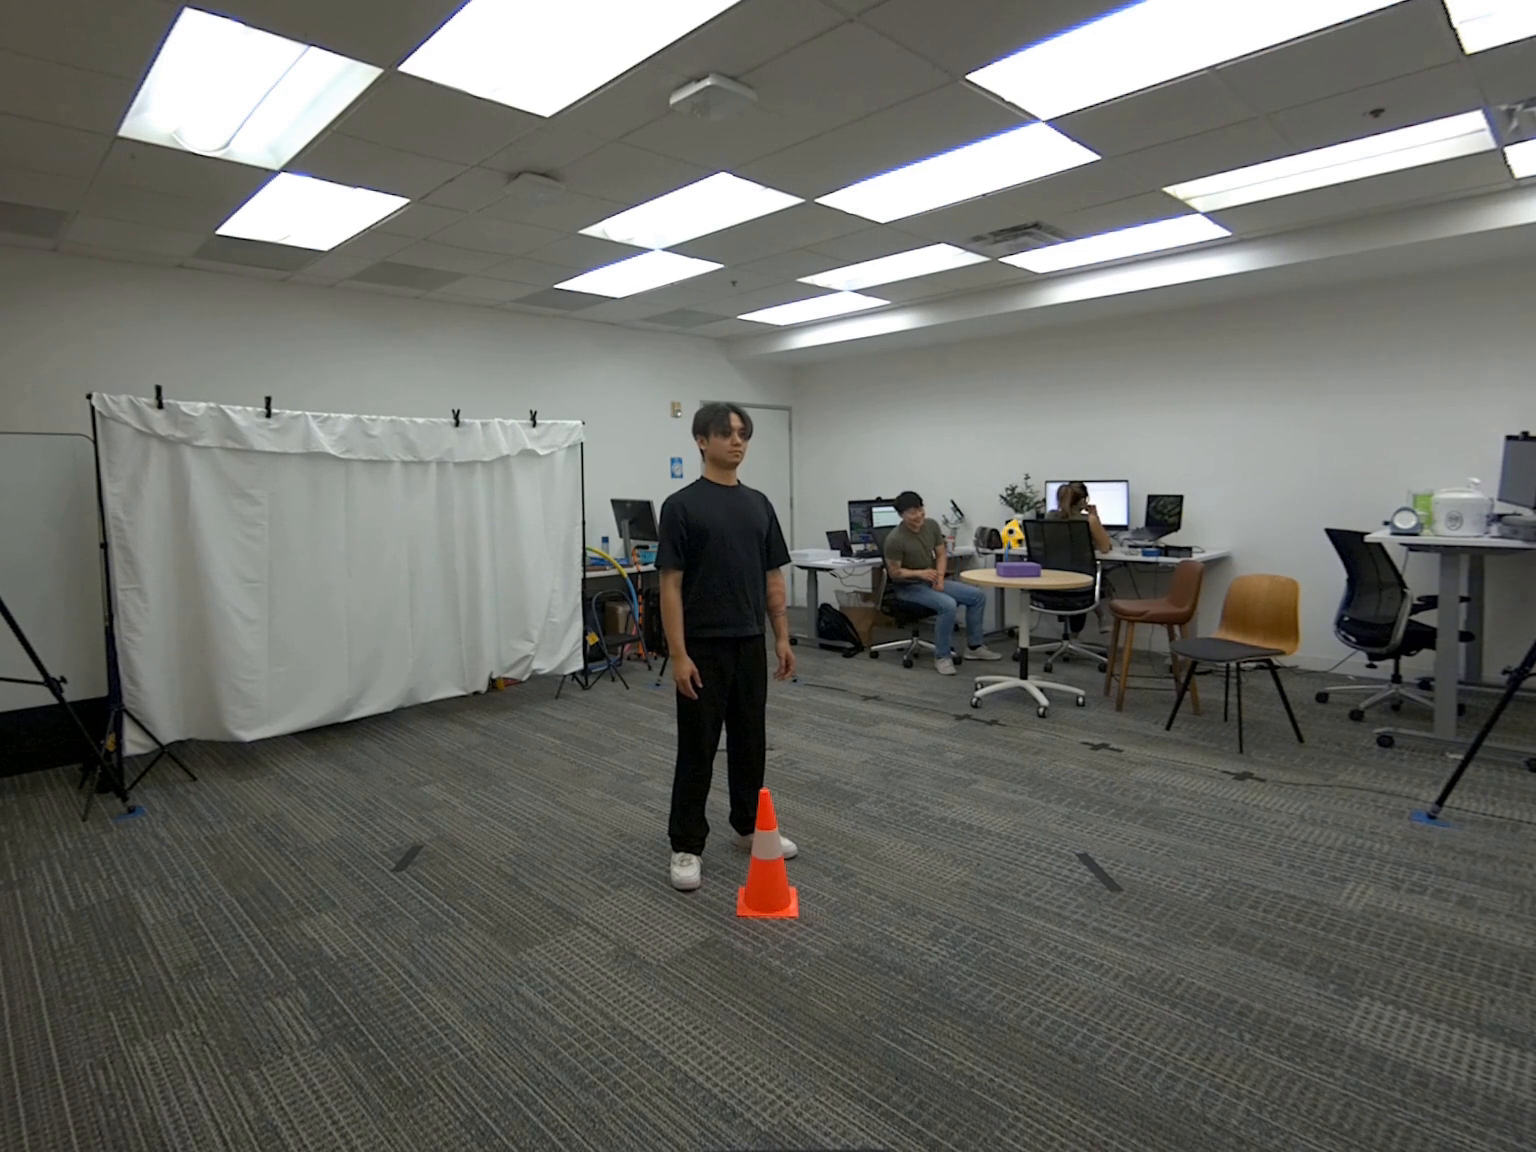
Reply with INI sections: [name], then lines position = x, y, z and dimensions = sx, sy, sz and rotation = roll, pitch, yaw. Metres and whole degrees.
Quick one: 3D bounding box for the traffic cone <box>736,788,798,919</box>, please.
[traffic cone]
position = 0.008, 0.895, 2.814
dimensions = 0.206, 0.382, 0.204
rotation = 2, 6, 3
